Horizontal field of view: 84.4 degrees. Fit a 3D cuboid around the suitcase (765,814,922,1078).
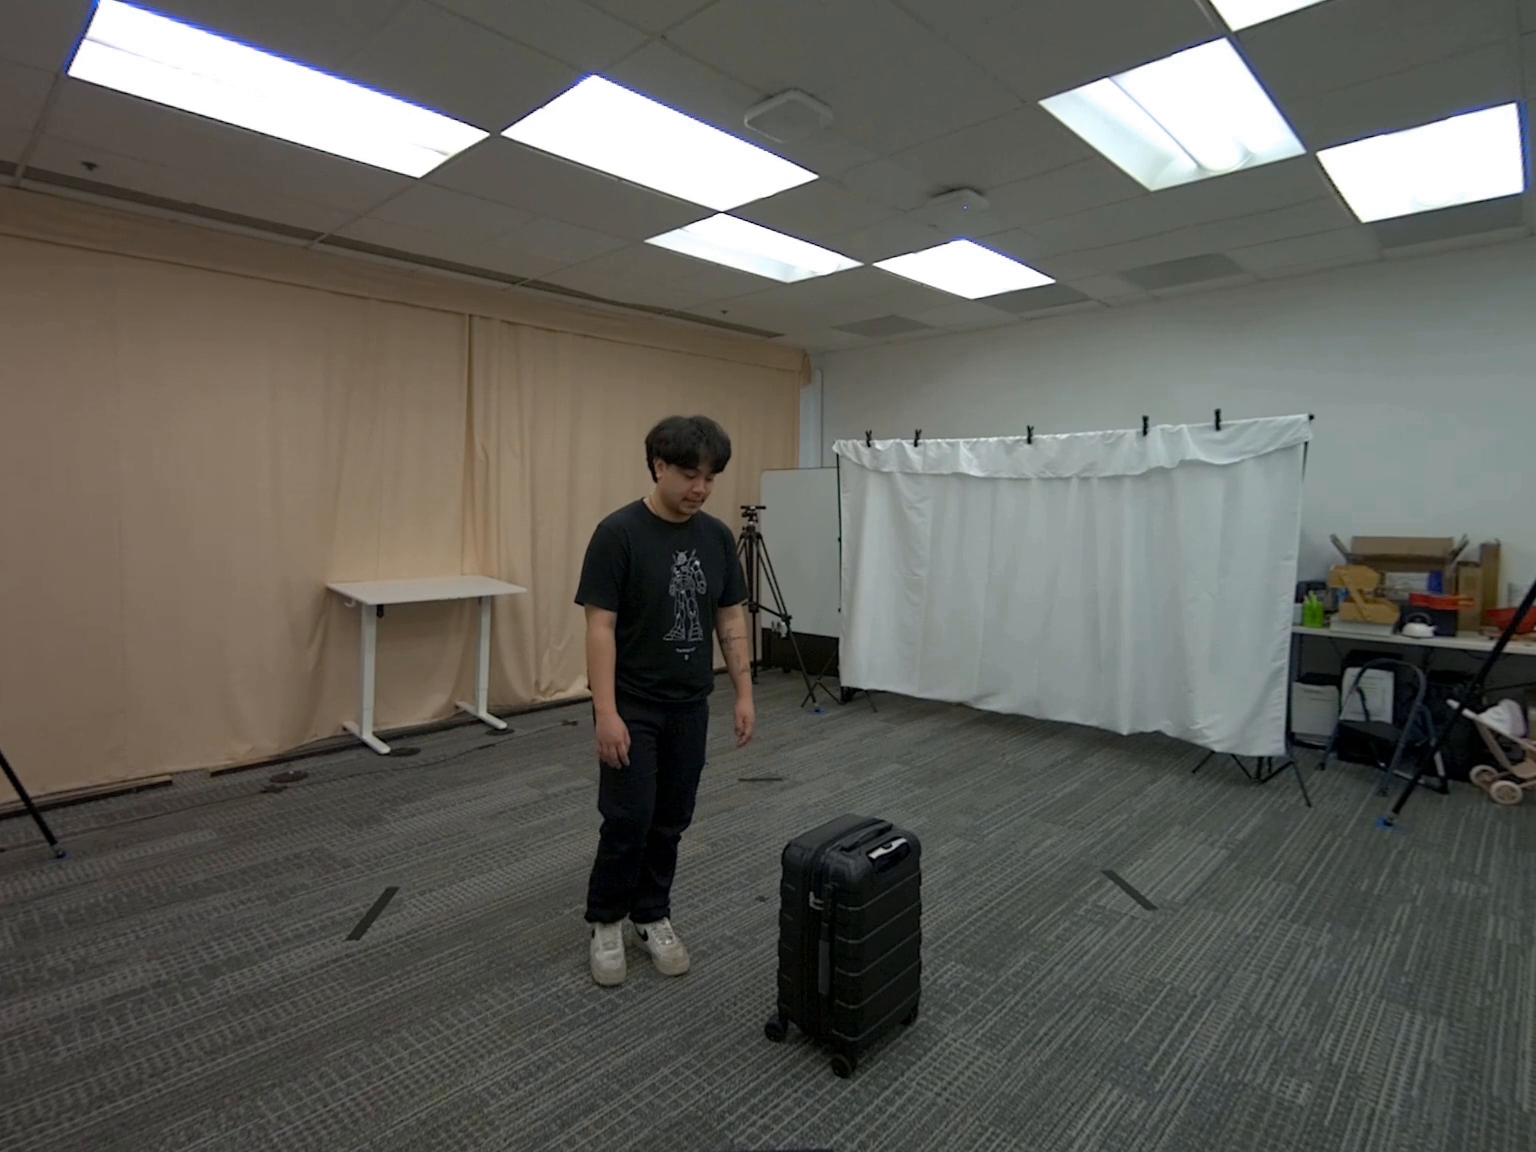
[{"bbox_3d":[0.218,0.934,2.206,0.257,0.548,0.364,5,6,42],"label":"suitcase"}]
